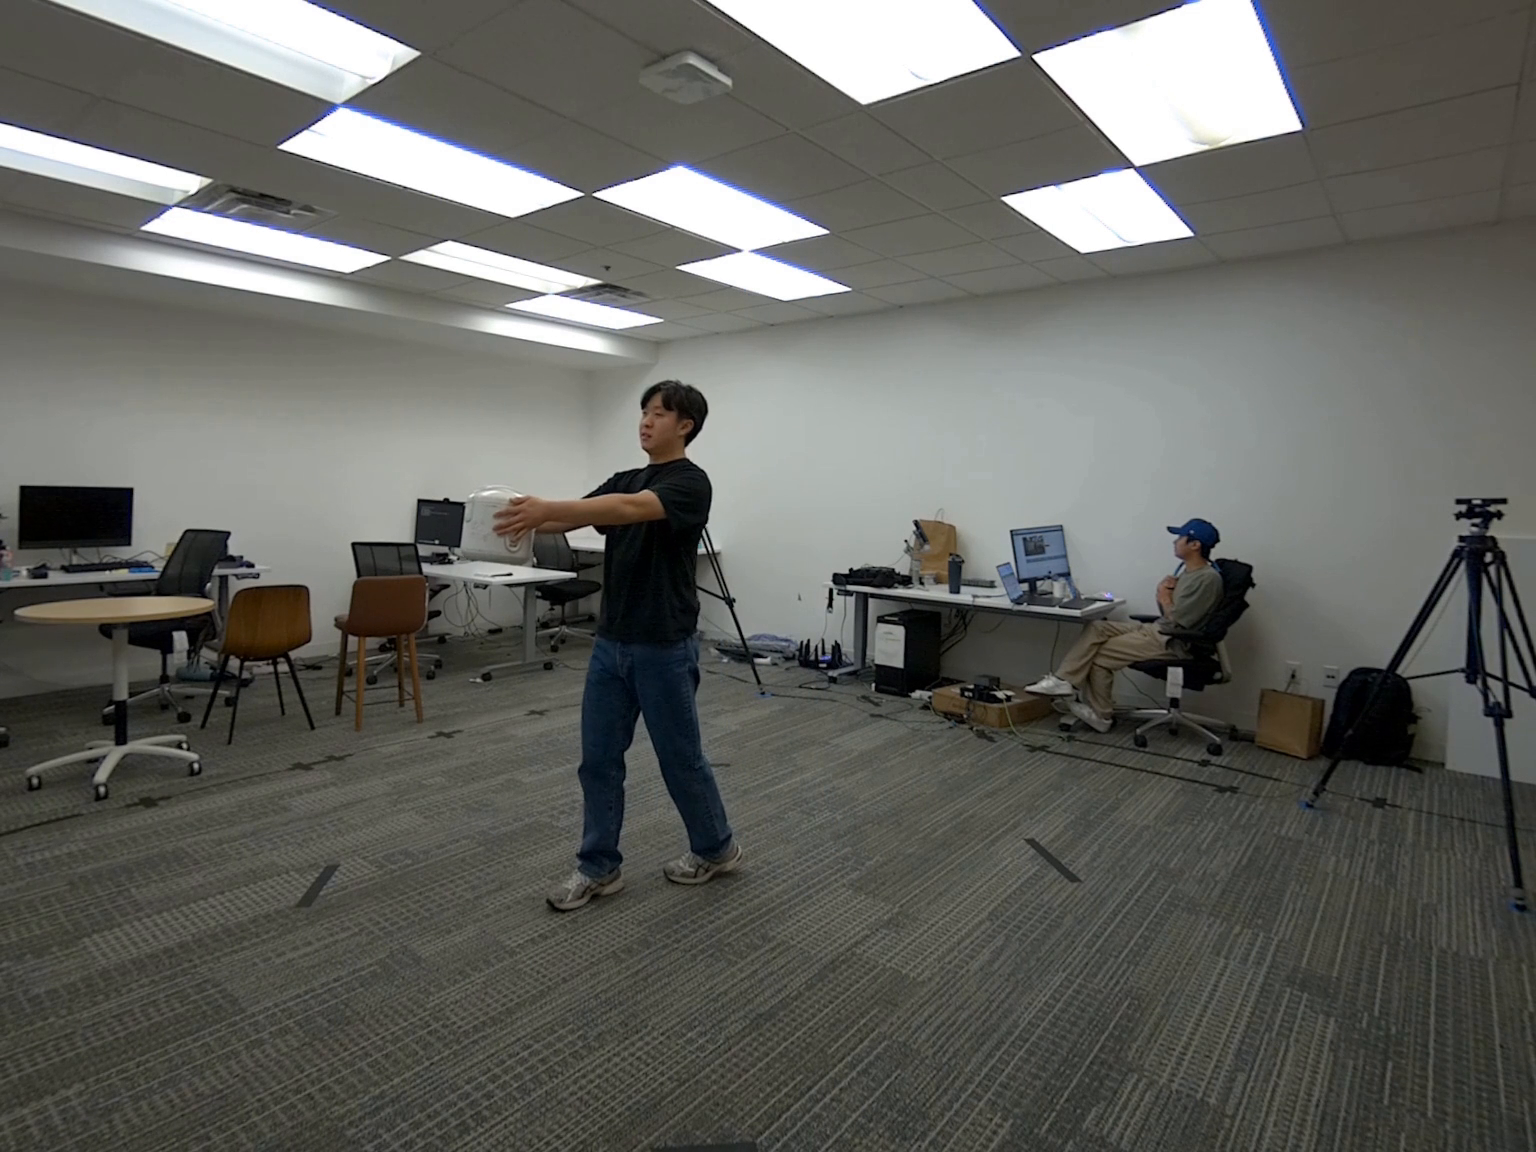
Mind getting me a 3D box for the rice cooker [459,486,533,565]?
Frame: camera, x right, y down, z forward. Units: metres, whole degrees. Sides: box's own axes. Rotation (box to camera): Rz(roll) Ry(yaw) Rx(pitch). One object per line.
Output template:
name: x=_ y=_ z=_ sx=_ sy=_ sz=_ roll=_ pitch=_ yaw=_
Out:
rice cooker: x=-0.809 y=-0.159 z=2.552 sx=0.213 sy=0.234 sz=0.224 roll=8 pitch=-5 yaw=-41
